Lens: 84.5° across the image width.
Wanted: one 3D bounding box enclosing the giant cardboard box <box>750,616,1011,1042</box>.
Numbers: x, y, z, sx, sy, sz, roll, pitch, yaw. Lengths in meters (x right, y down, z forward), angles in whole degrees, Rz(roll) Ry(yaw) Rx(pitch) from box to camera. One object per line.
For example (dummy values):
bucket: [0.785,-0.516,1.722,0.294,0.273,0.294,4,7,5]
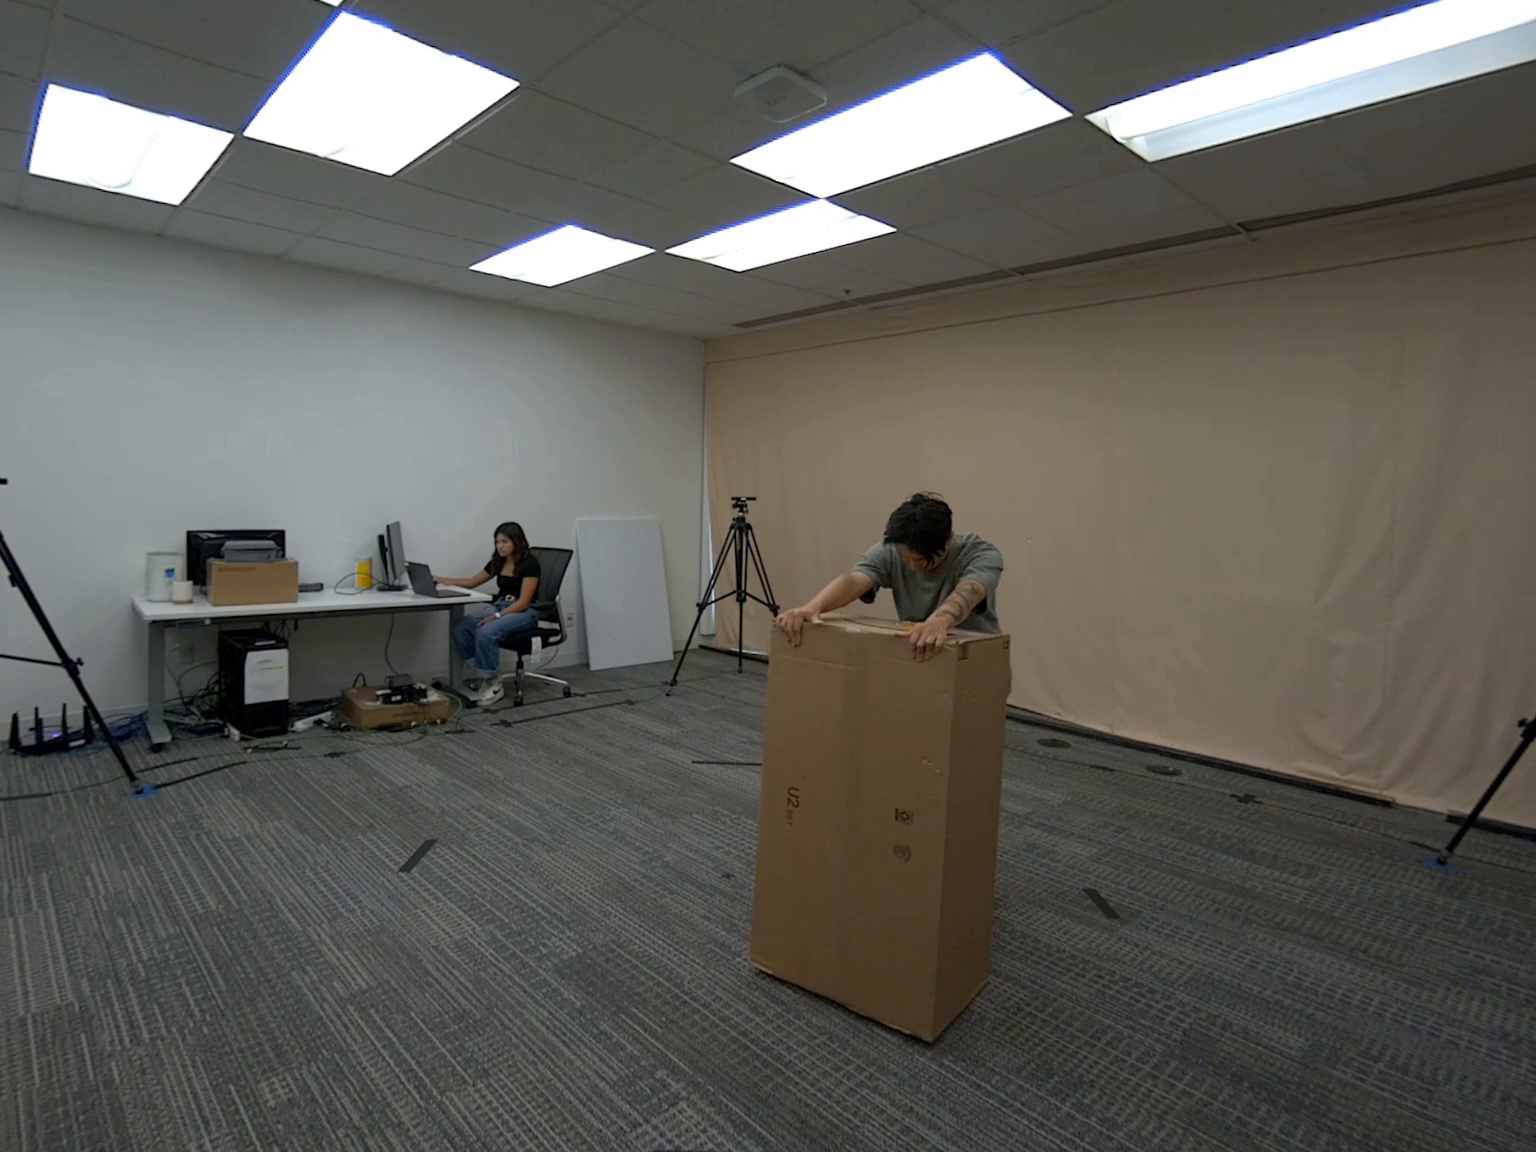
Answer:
giant cardboard box: [0.322,0.659,2.472,0.591,1.026,0.416,4,0,37]
